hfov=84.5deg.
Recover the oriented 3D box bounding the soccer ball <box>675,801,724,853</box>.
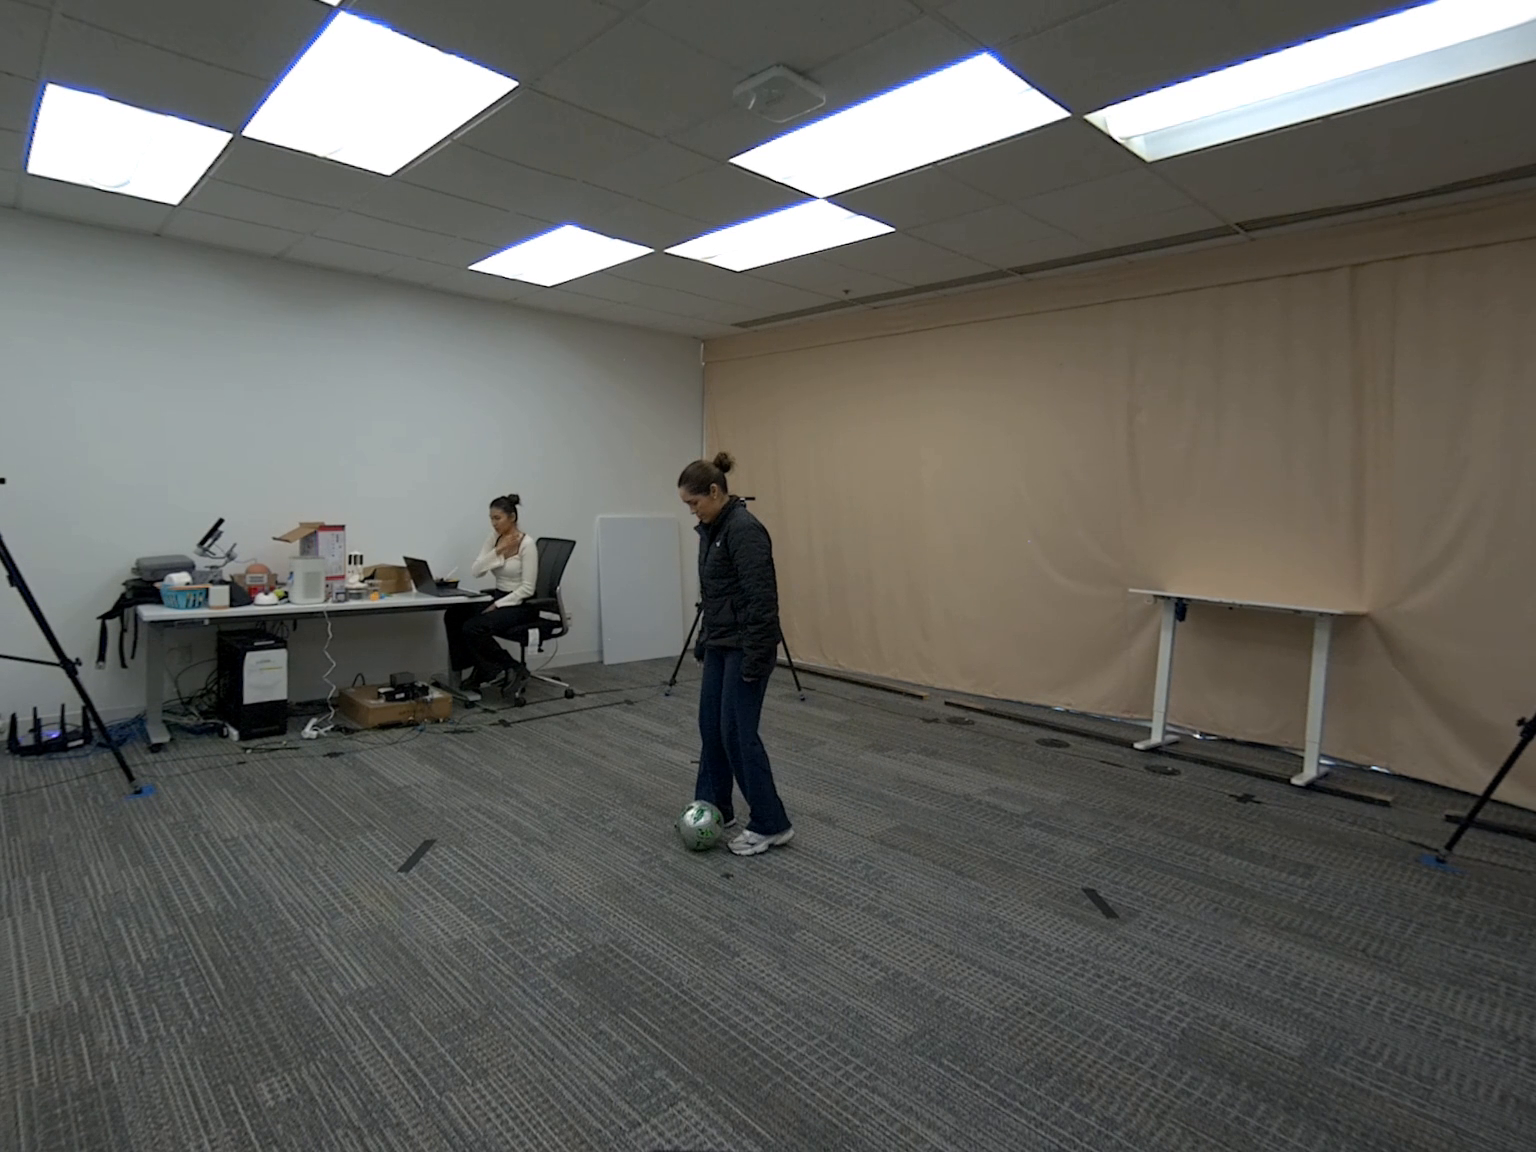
[{"bbox_3d":[-0.281,0.979,3.339,0.187,0.187,0.188,1,4,-1],"label":"soccer ball"}]
